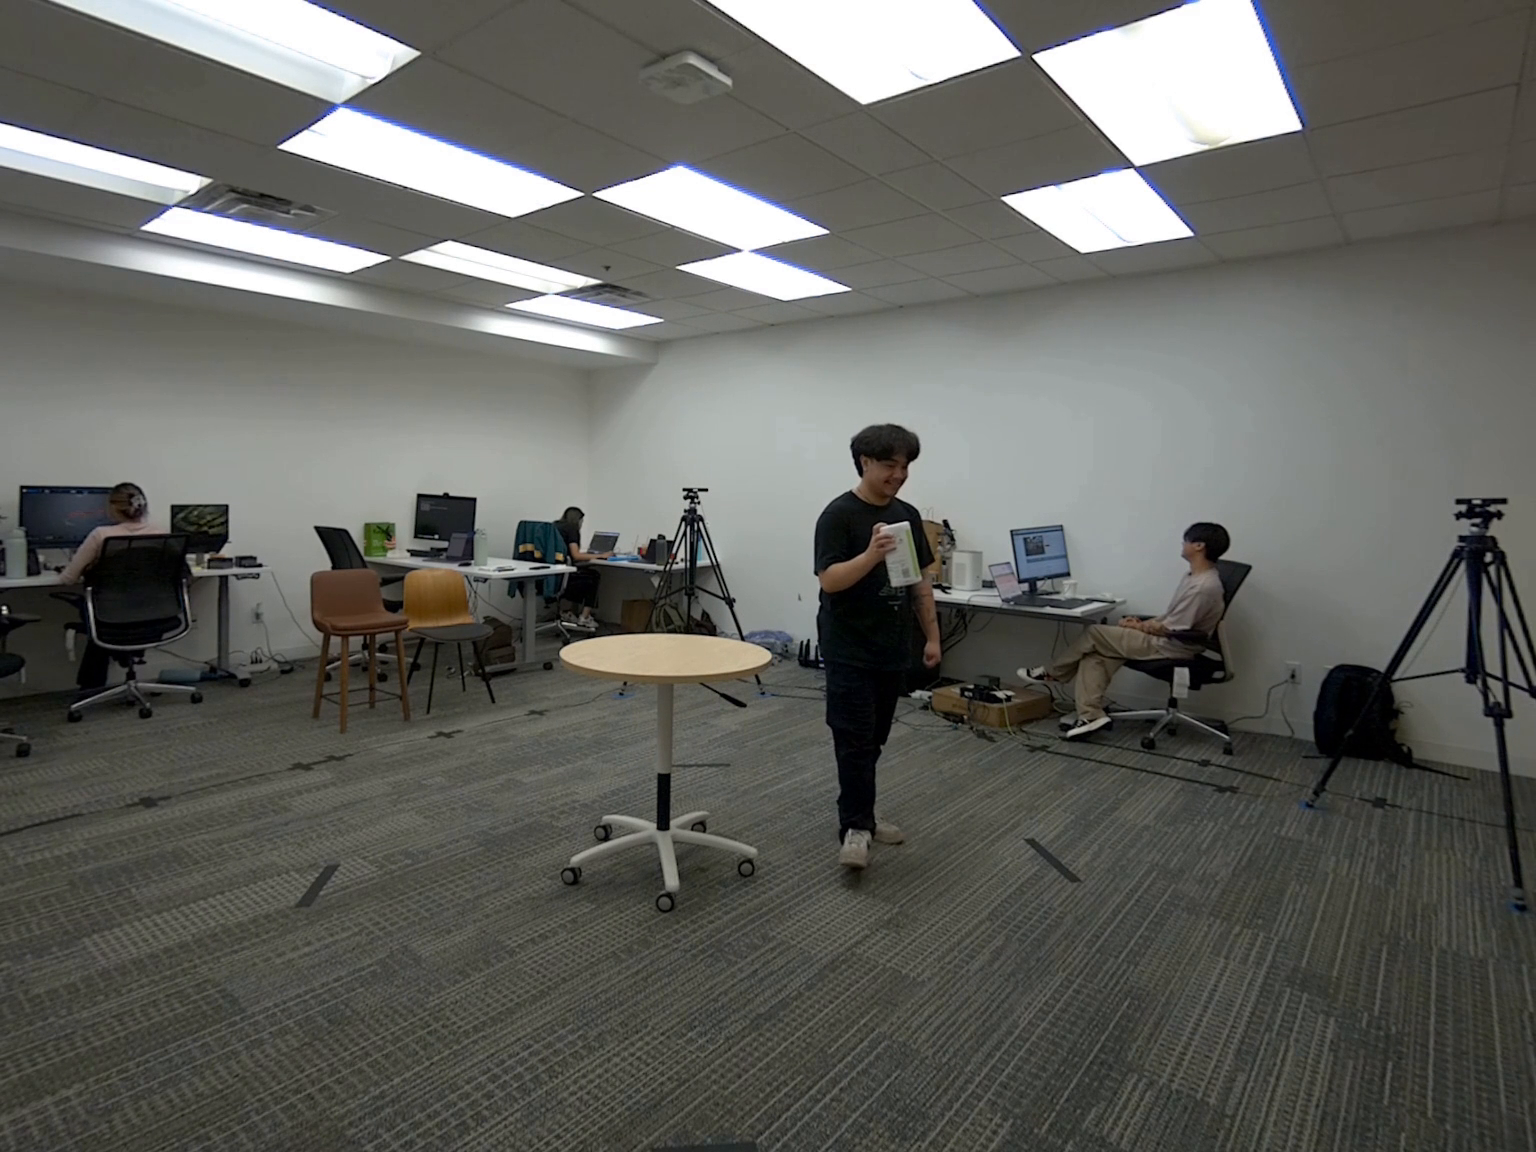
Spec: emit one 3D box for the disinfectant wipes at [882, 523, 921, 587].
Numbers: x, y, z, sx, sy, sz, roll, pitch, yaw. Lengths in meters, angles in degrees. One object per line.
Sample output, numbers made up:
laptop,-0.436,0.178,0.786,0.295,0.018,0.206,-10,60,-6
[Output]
disinfectant wipes,0.451,-0.079,2.969,0.118,0.218,0.118,-8,0,-2
